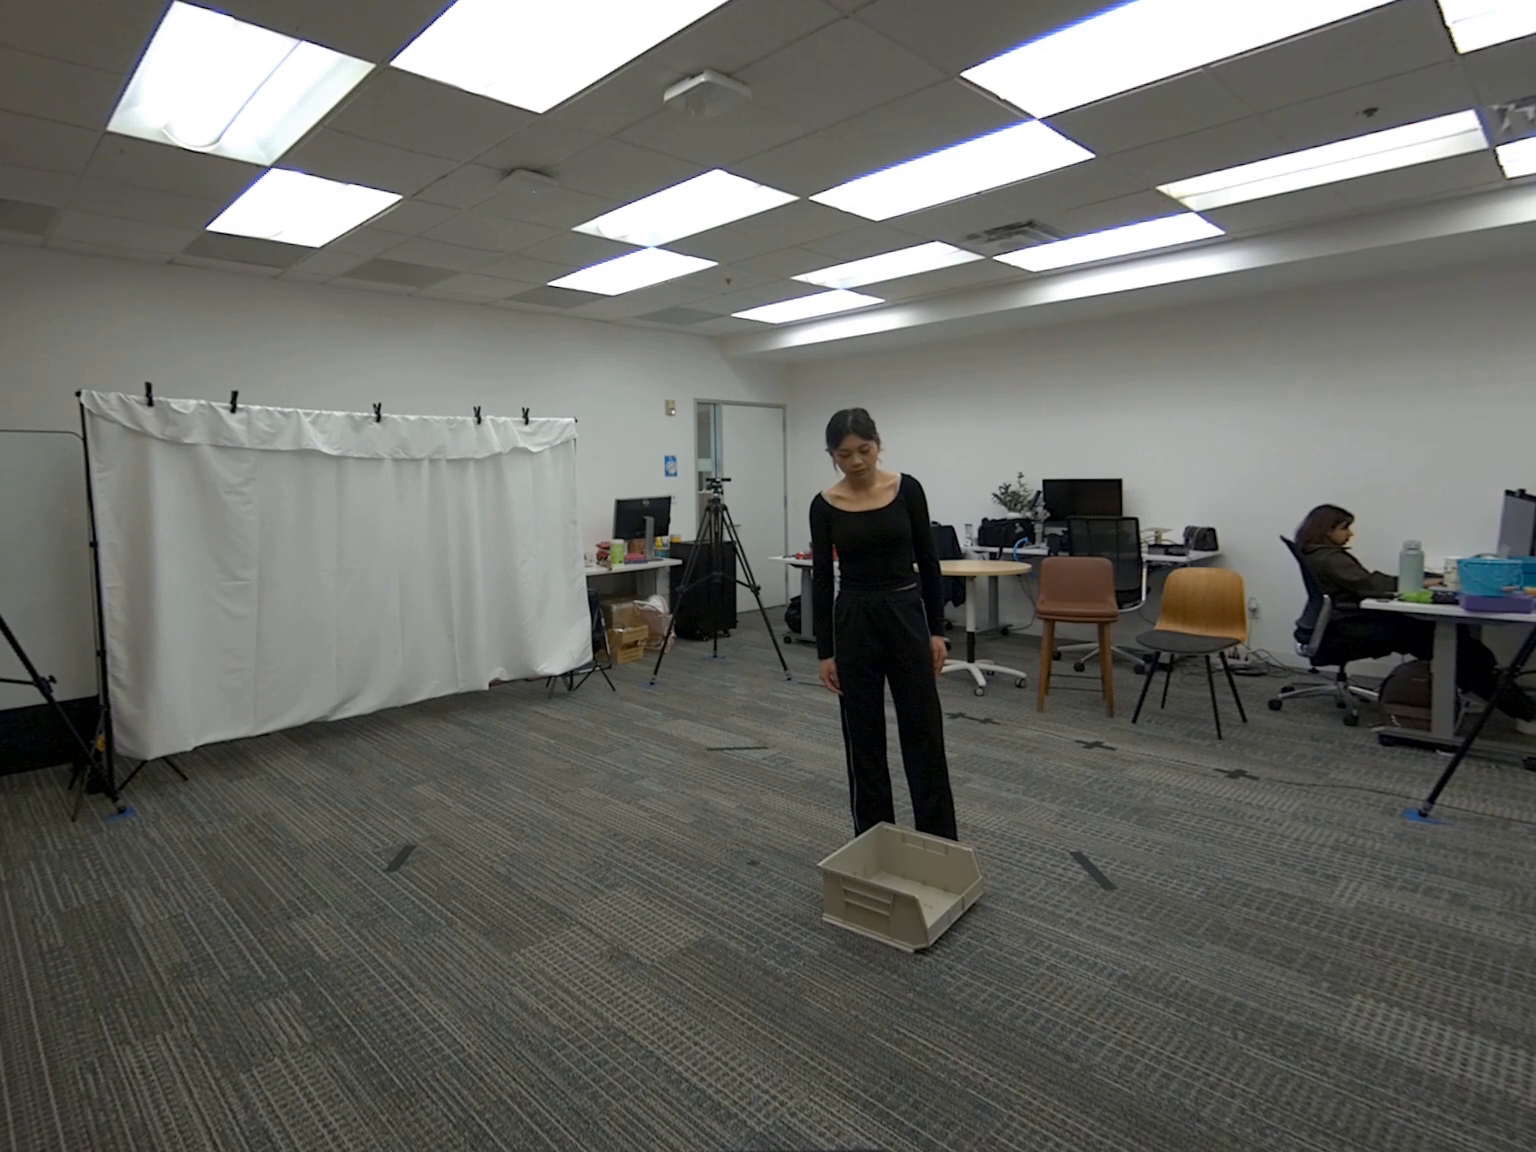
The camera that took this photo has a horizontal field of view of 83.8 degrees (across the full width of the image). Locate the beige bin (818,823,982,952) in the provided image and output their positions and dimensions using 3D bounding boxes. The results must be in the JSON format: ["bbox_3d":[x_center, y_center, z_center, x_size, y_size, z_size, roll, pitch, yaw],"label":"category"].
[{"bbox_3d":[0.431,0.988,2.733,0.388,0.188,0.412,2,7,36],"label":"beige bin"}]
